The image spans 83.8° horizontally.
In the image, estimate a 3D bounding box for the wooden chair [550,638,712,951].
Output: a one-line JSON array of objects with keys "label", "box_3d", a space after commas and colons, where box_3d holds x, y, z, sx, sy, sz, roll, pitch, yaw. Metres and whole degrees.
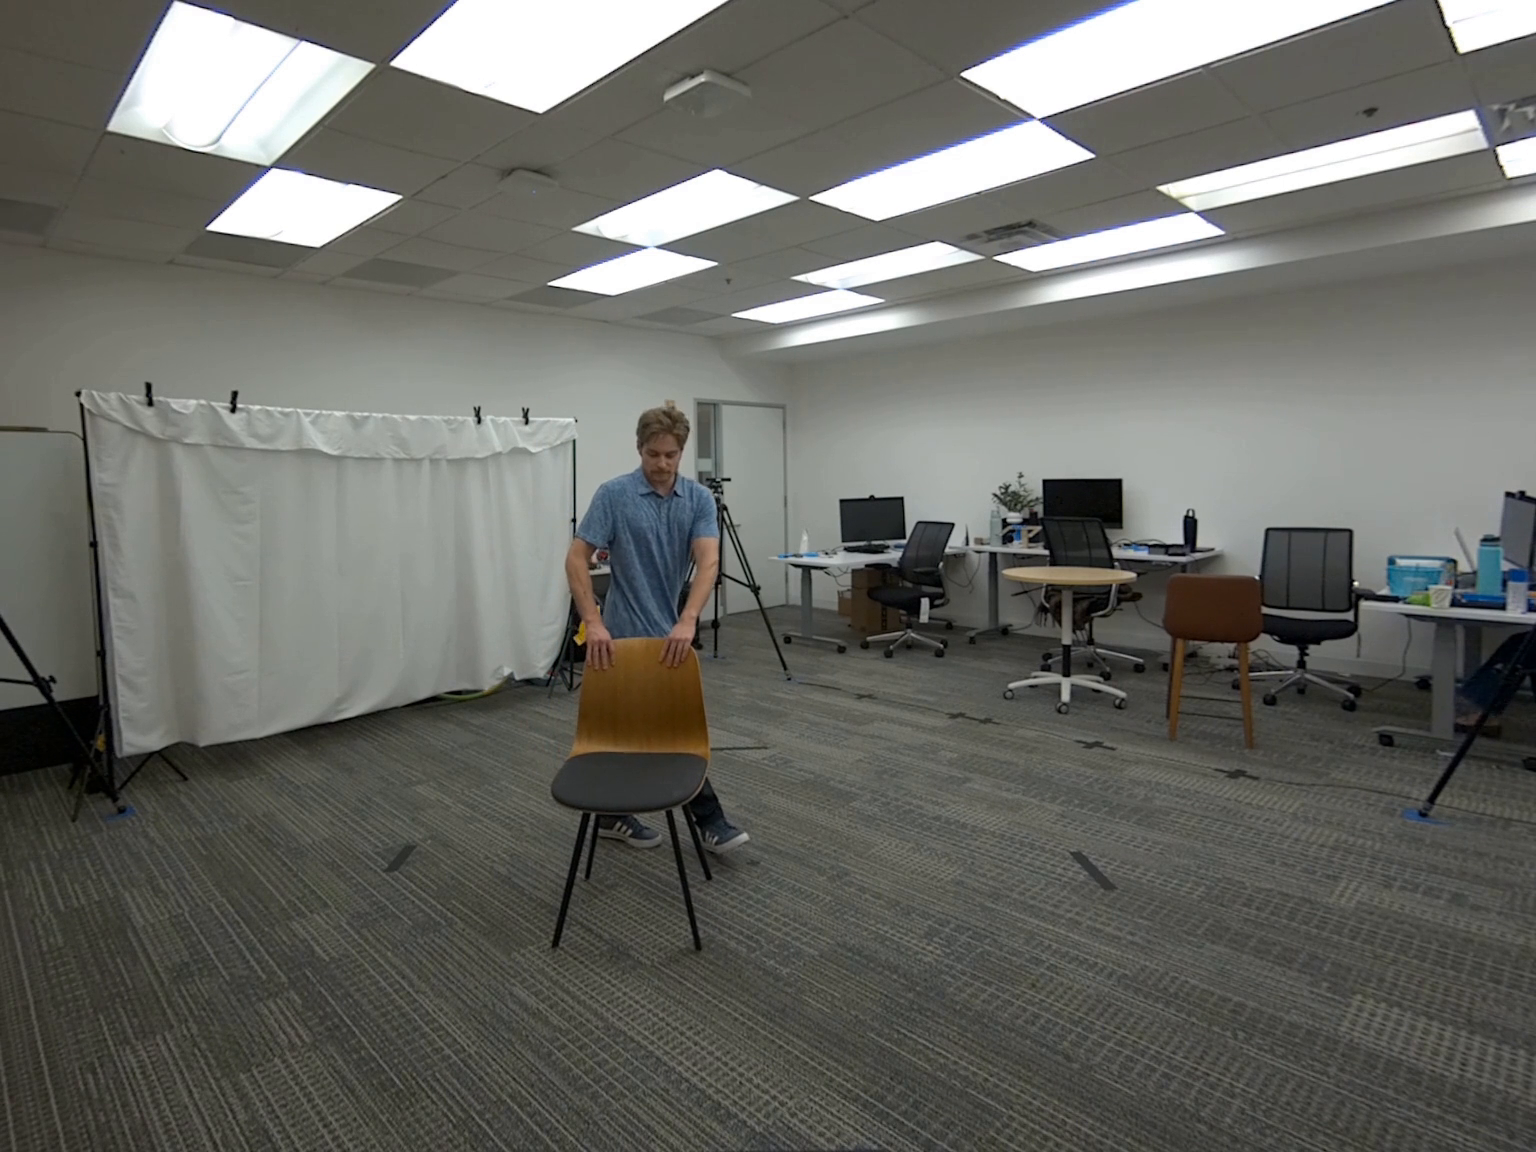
[{"label": "wooden chair", "box_3d": [-0.428, 0.666, 2.726, 0.479, 0.878, 0.521, 0, 0, 2]}]
